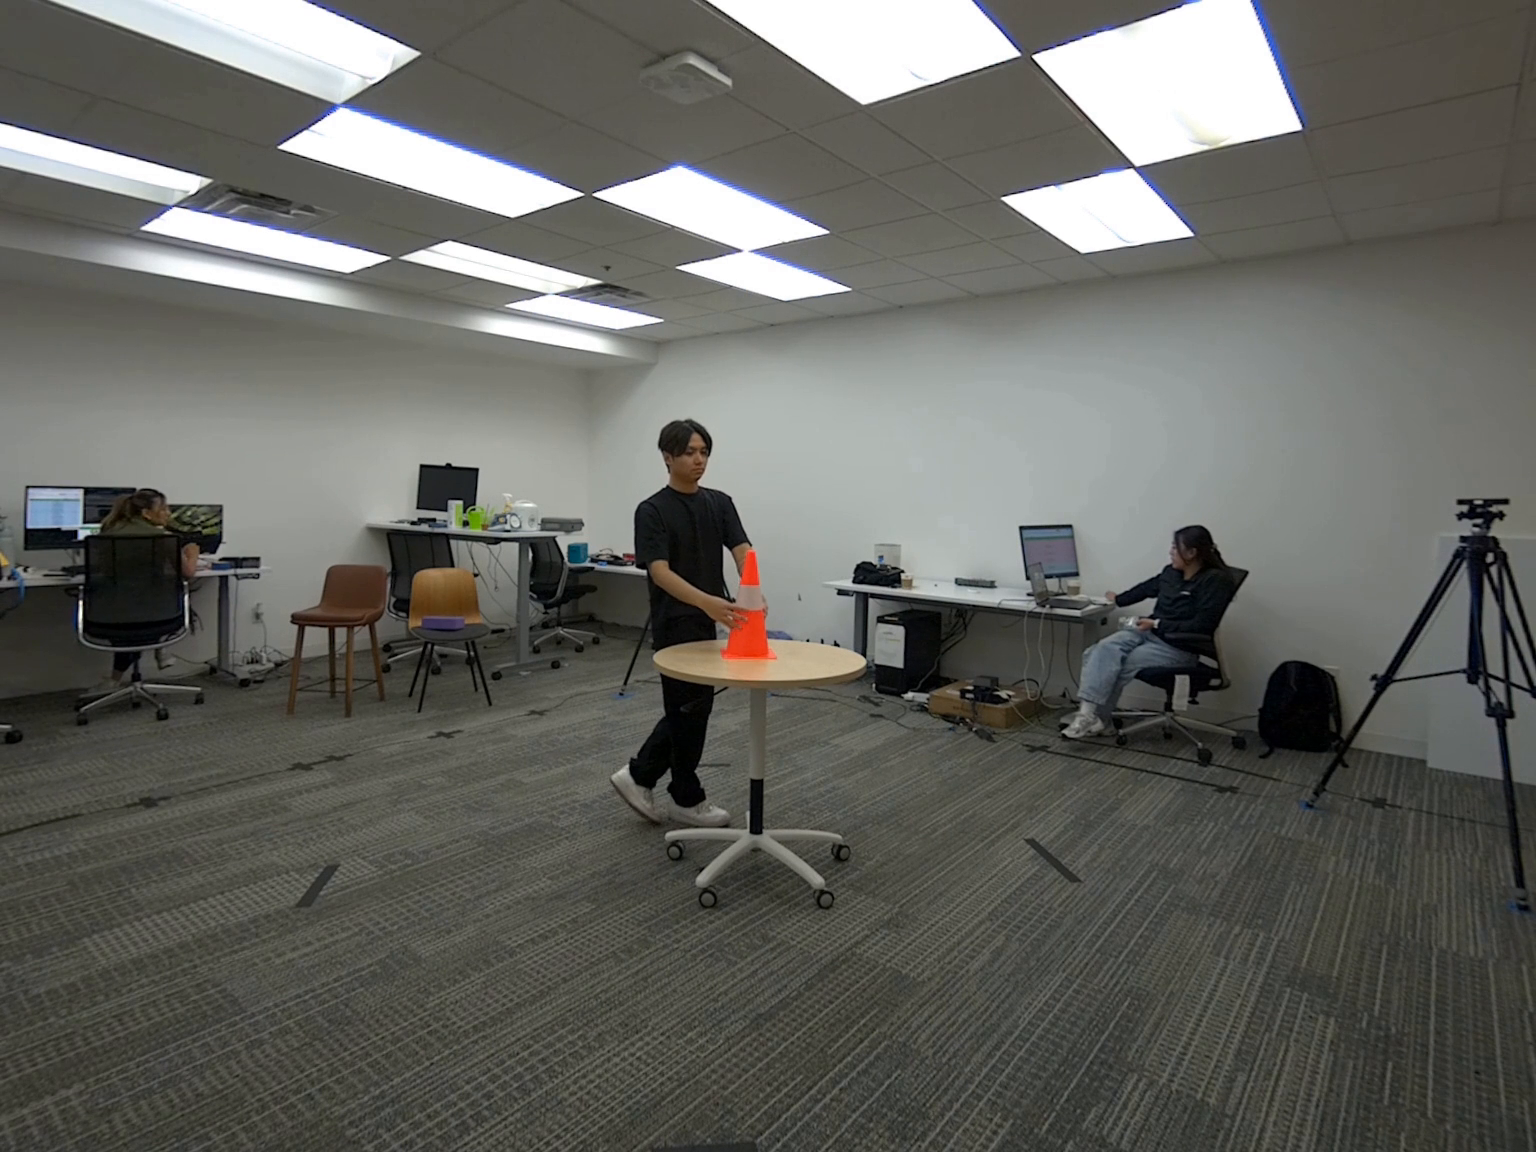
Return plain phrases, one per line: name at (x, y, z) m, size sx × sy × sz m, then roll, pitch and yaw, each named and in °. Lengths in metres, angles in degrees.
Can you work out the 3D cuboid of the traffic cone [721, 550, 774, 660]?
traffic cone at (-0.083, 0.093, 3.139) m, size 0.205 × 0.383 × 0.204 m, roll 0°, pitch 2°, yaw -2°
